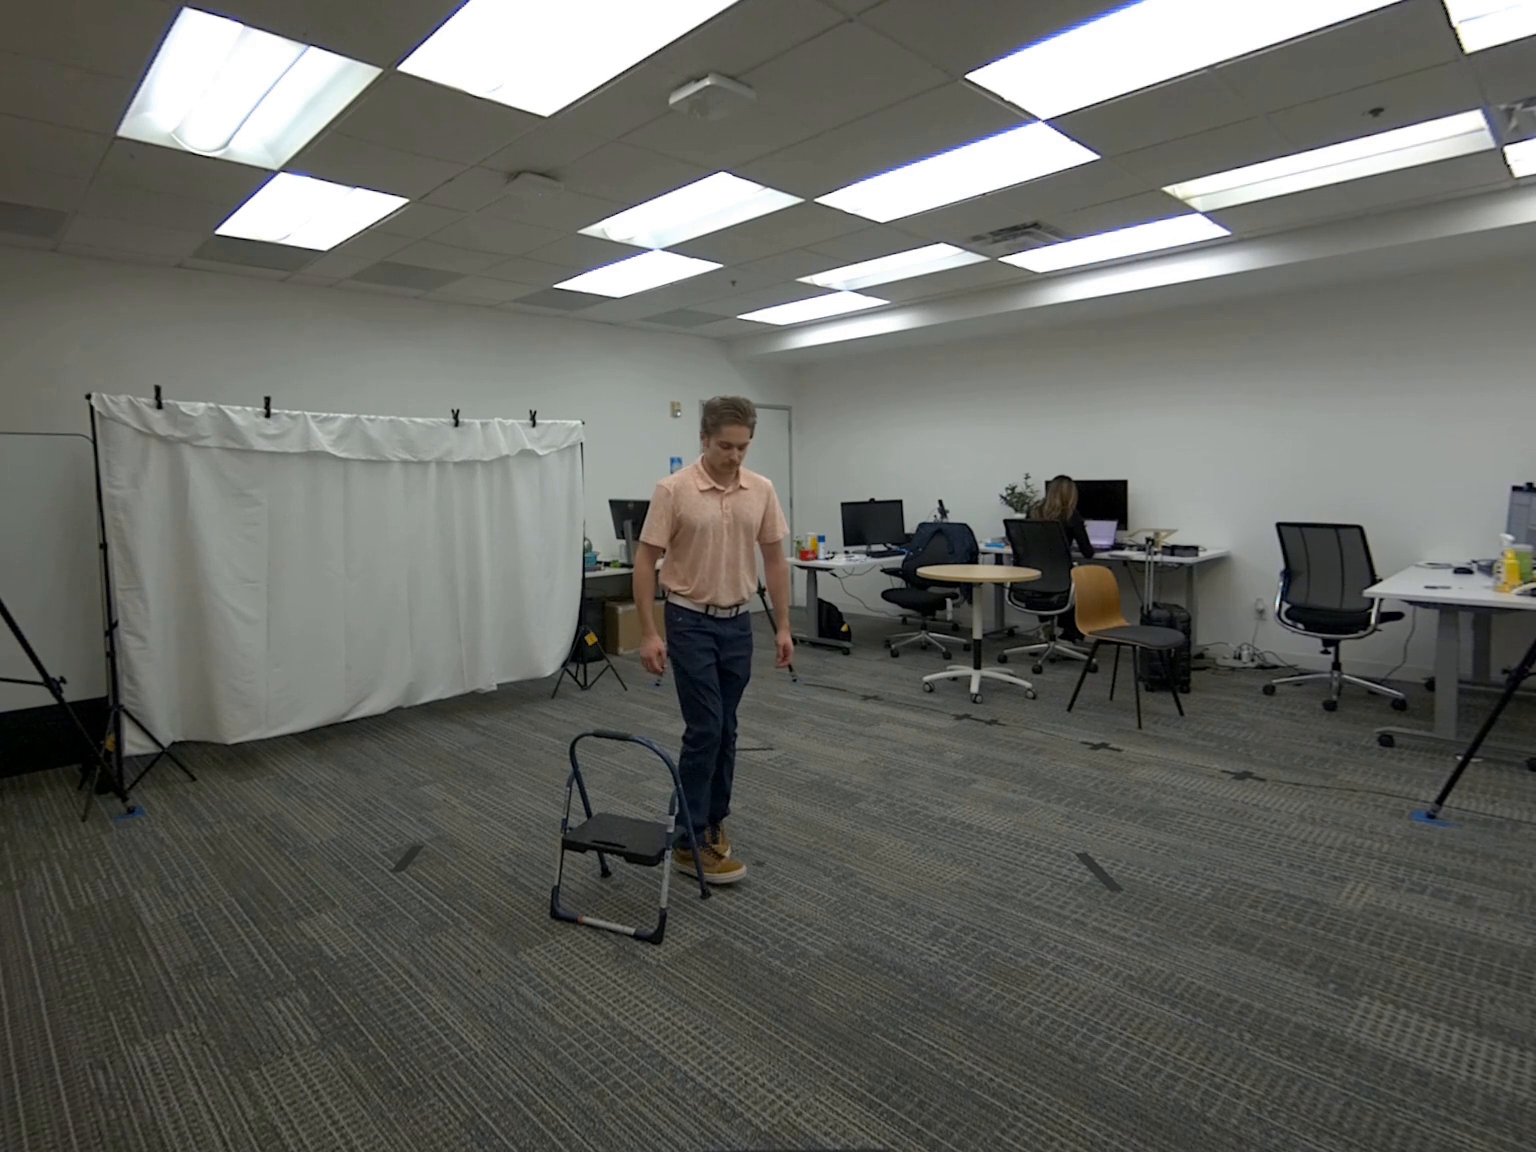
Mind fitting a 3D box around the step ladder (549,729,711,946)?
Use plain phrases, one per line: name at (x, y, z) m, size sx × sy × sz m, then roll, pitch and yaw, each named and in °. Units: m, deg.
step ladder at (-0.457, 0.790, 2.795) m, size 0.440 × 0.604 × 0.343 m, roll 0°, pitch 5°, yaw 24°
